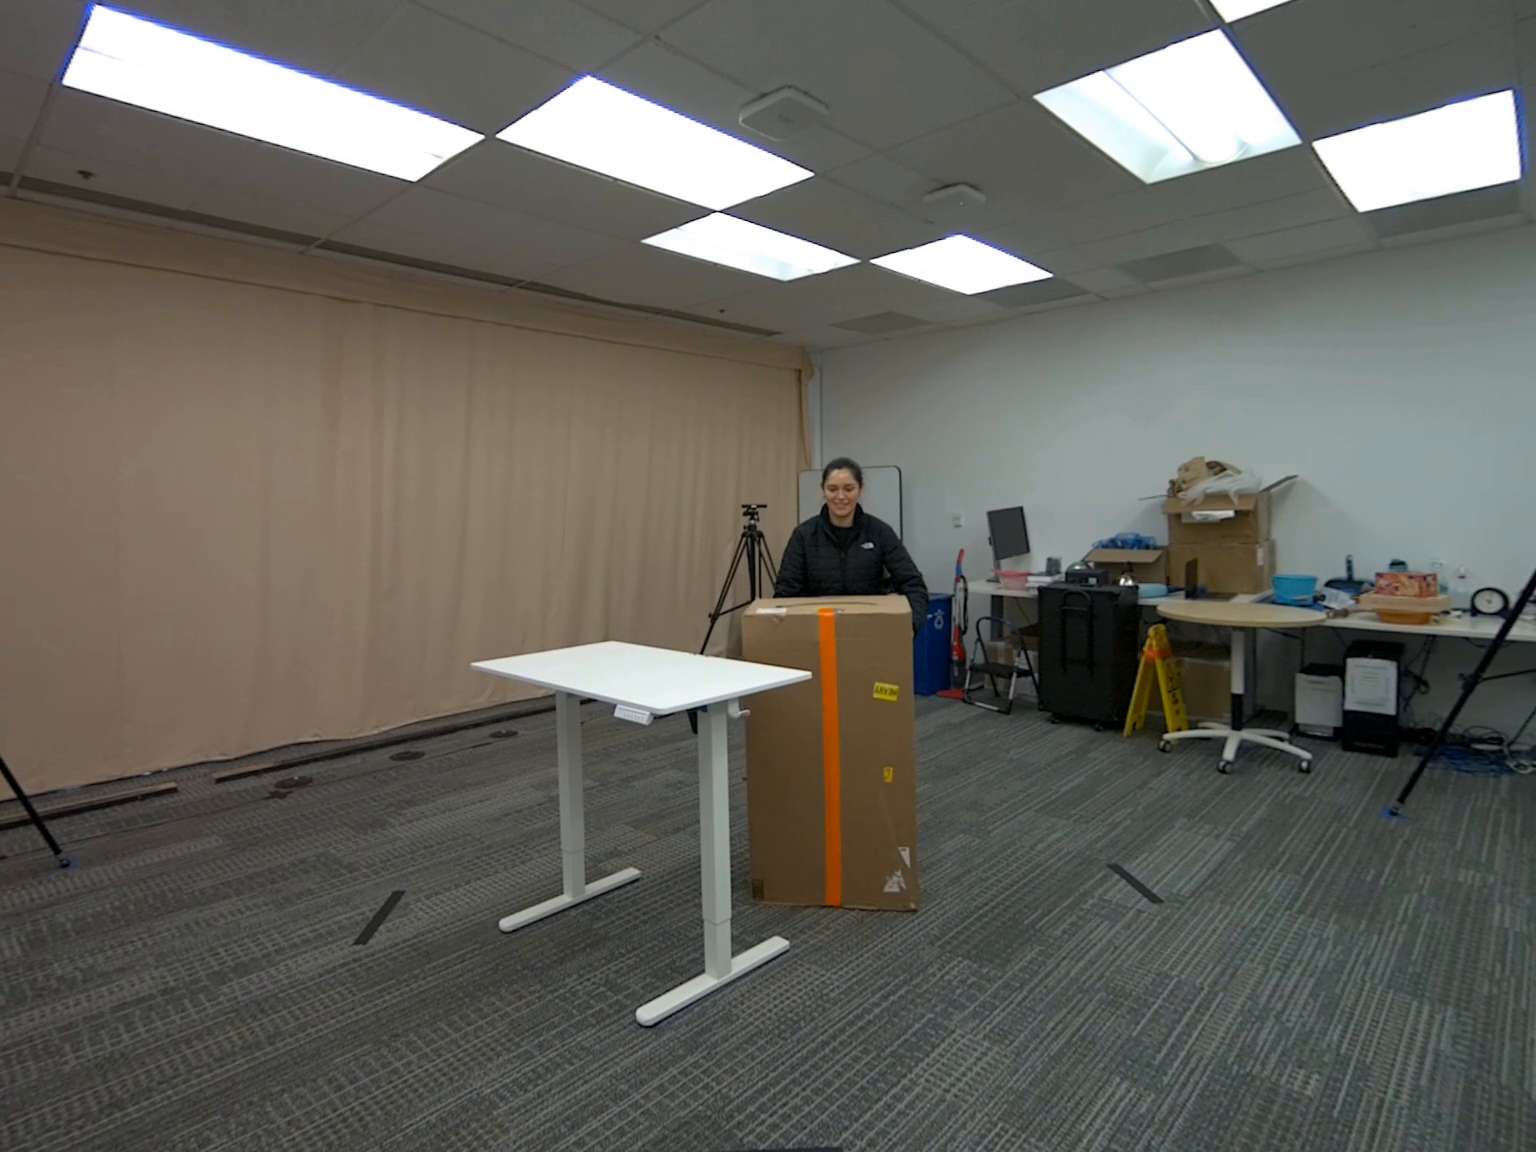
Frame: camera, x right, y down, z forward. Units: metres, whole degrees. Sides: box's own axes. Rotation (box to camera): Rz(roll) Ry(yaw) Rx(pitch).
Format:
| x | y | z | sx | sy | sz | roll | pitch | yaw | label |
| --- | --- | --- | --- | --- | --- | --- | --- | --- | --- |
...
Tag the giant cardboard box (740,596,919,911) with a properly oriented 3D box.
| x | y | z | sx | sy | sz | roll | pitch | yaw | label |
| --- | --- | --- | --- | --- | --- | --- | --- | --- | --- |
| 0.235 | 0.609 | 3.080 | 0.583 | 1.023 | 0.423 | -1 | 4 | 8 | giant cardboard box |
